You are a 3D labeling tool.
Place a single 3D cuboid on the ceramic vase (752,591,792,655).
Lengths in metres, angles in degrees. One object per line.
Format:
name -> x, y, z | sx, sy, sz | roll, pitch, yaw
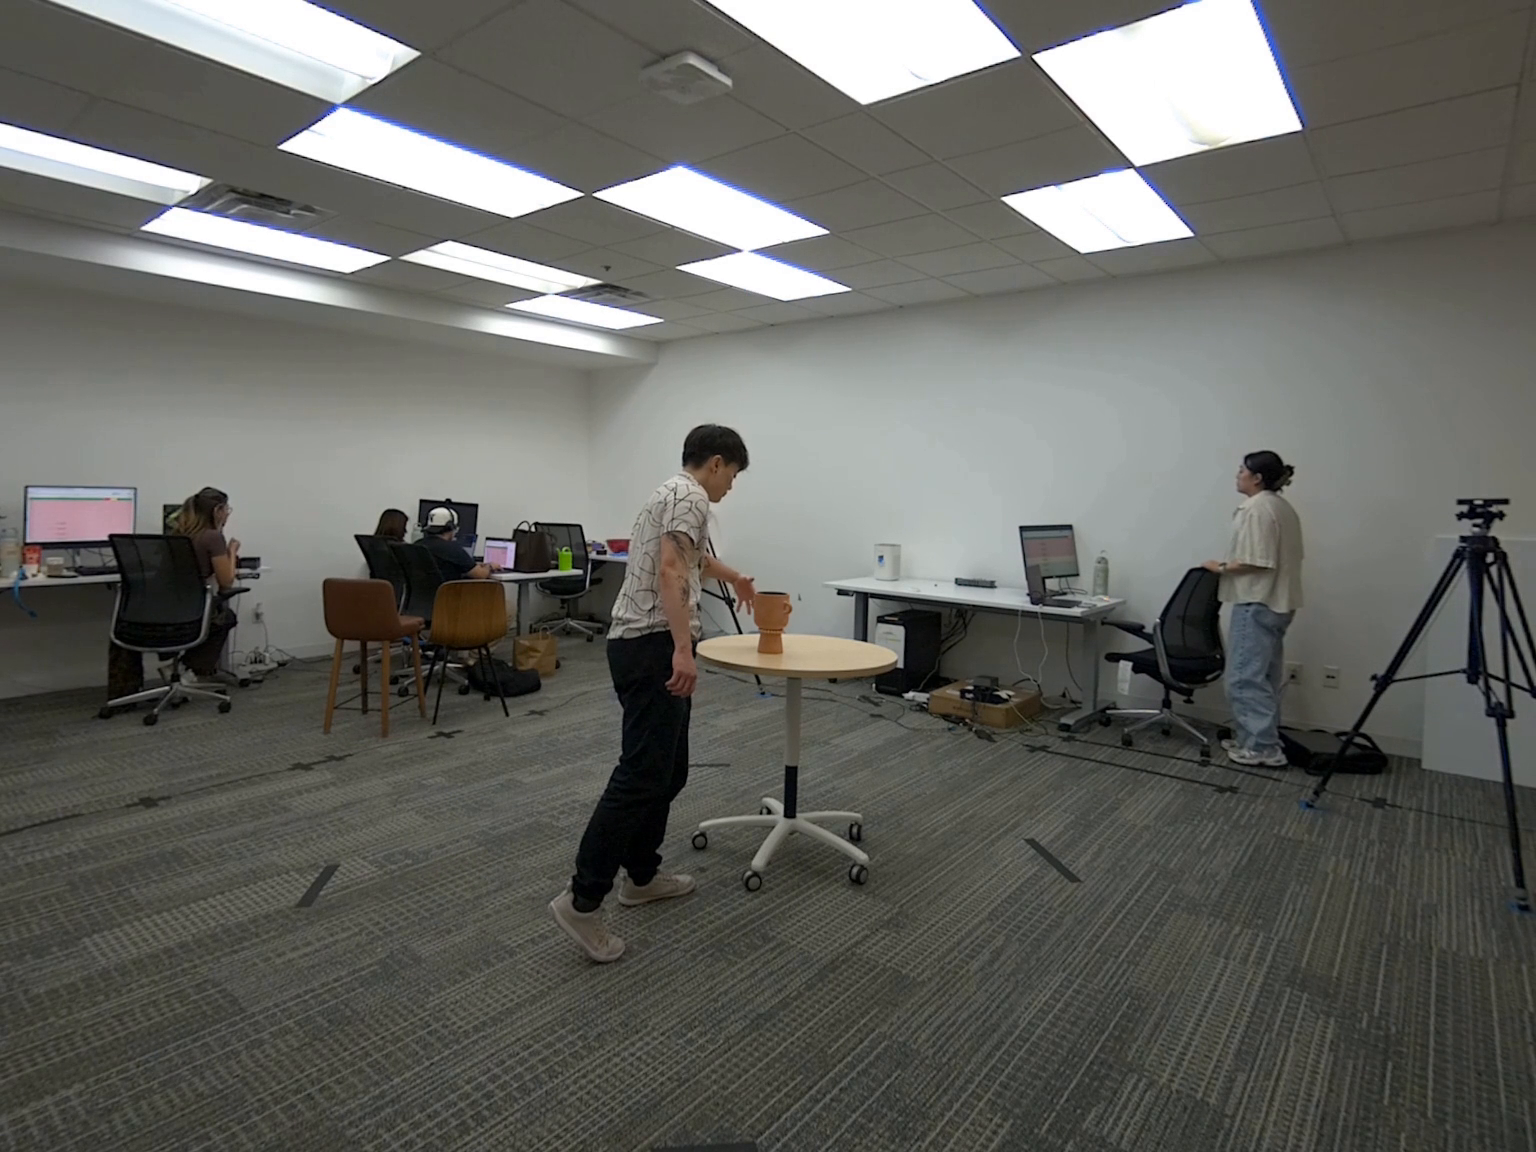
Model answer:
ceramic vase -> 0.002, 0.170, 3.188 | 0.133, 0.219, 0.161 | 0, 3, -9
